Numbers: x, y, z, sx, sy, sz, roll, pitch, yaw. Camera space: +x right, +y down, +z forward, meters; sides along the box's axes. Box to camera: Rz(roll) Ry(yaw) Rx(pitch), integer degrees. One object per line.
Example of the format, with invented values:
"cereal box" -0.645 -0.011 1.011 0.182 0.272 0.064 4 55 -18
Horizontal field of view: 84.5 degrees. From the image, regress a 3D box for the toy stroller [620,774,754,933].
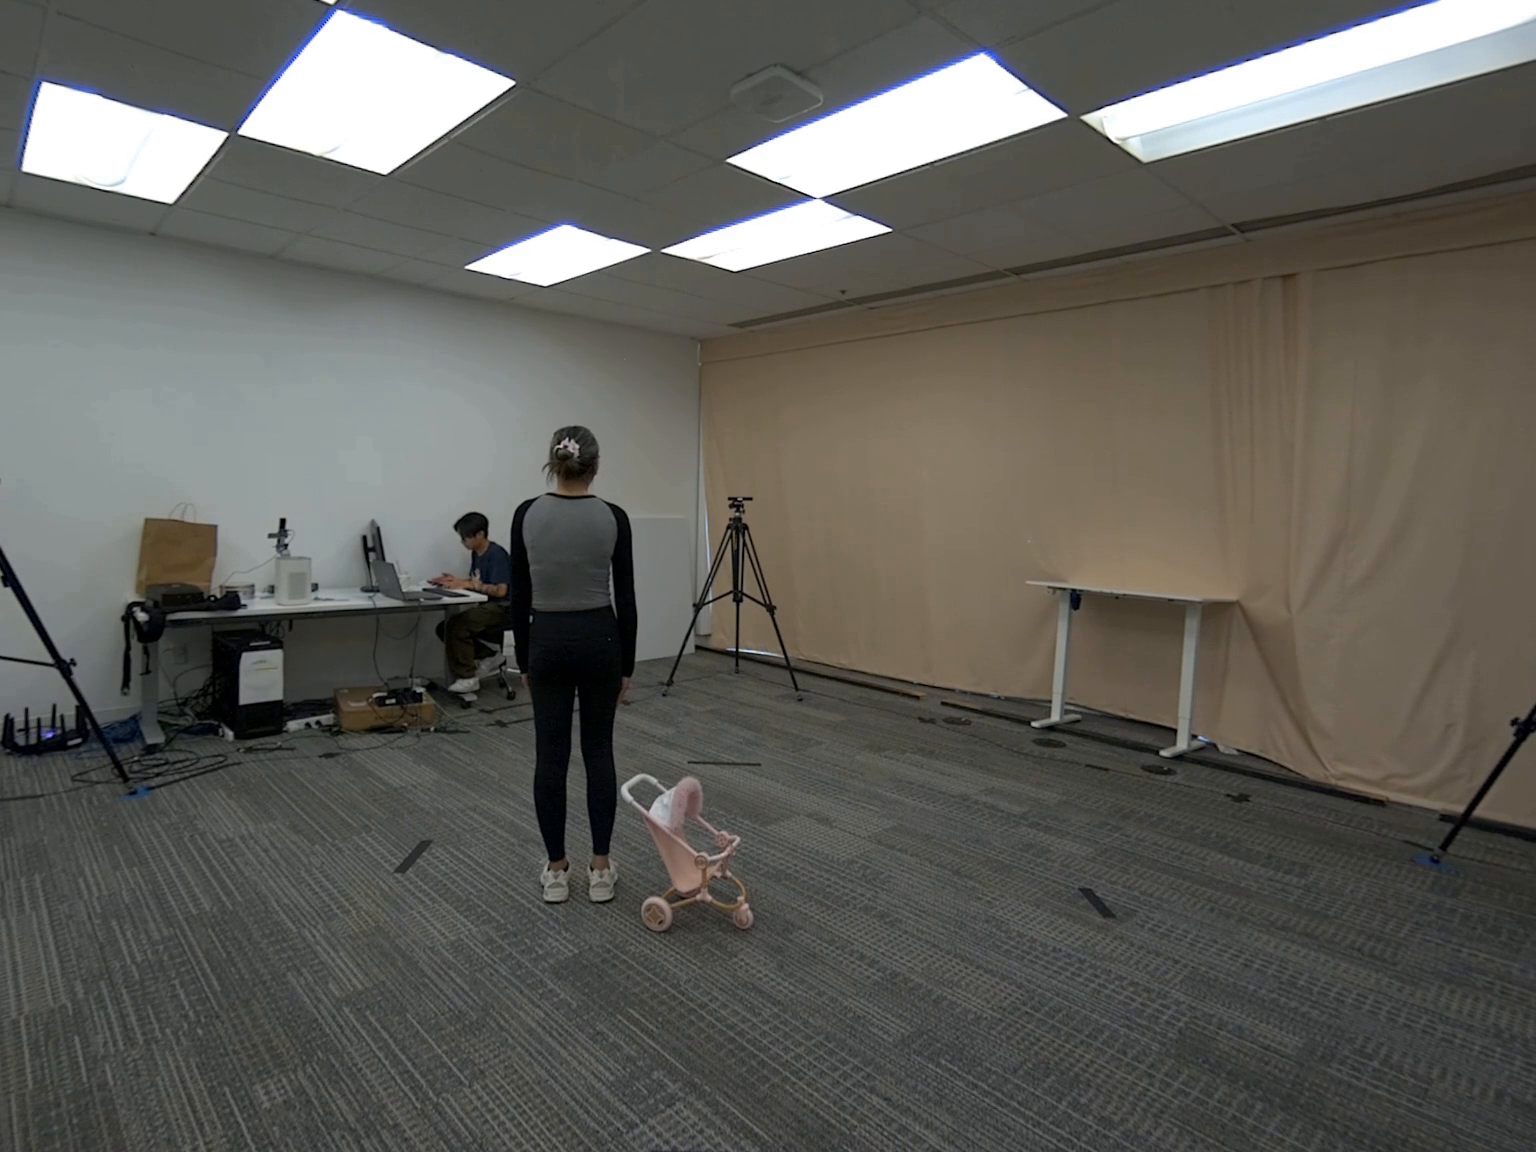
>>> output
"toy stroller" -0.261 0.912 2.779 0.346 0.537 0.277 -15 -5 24
